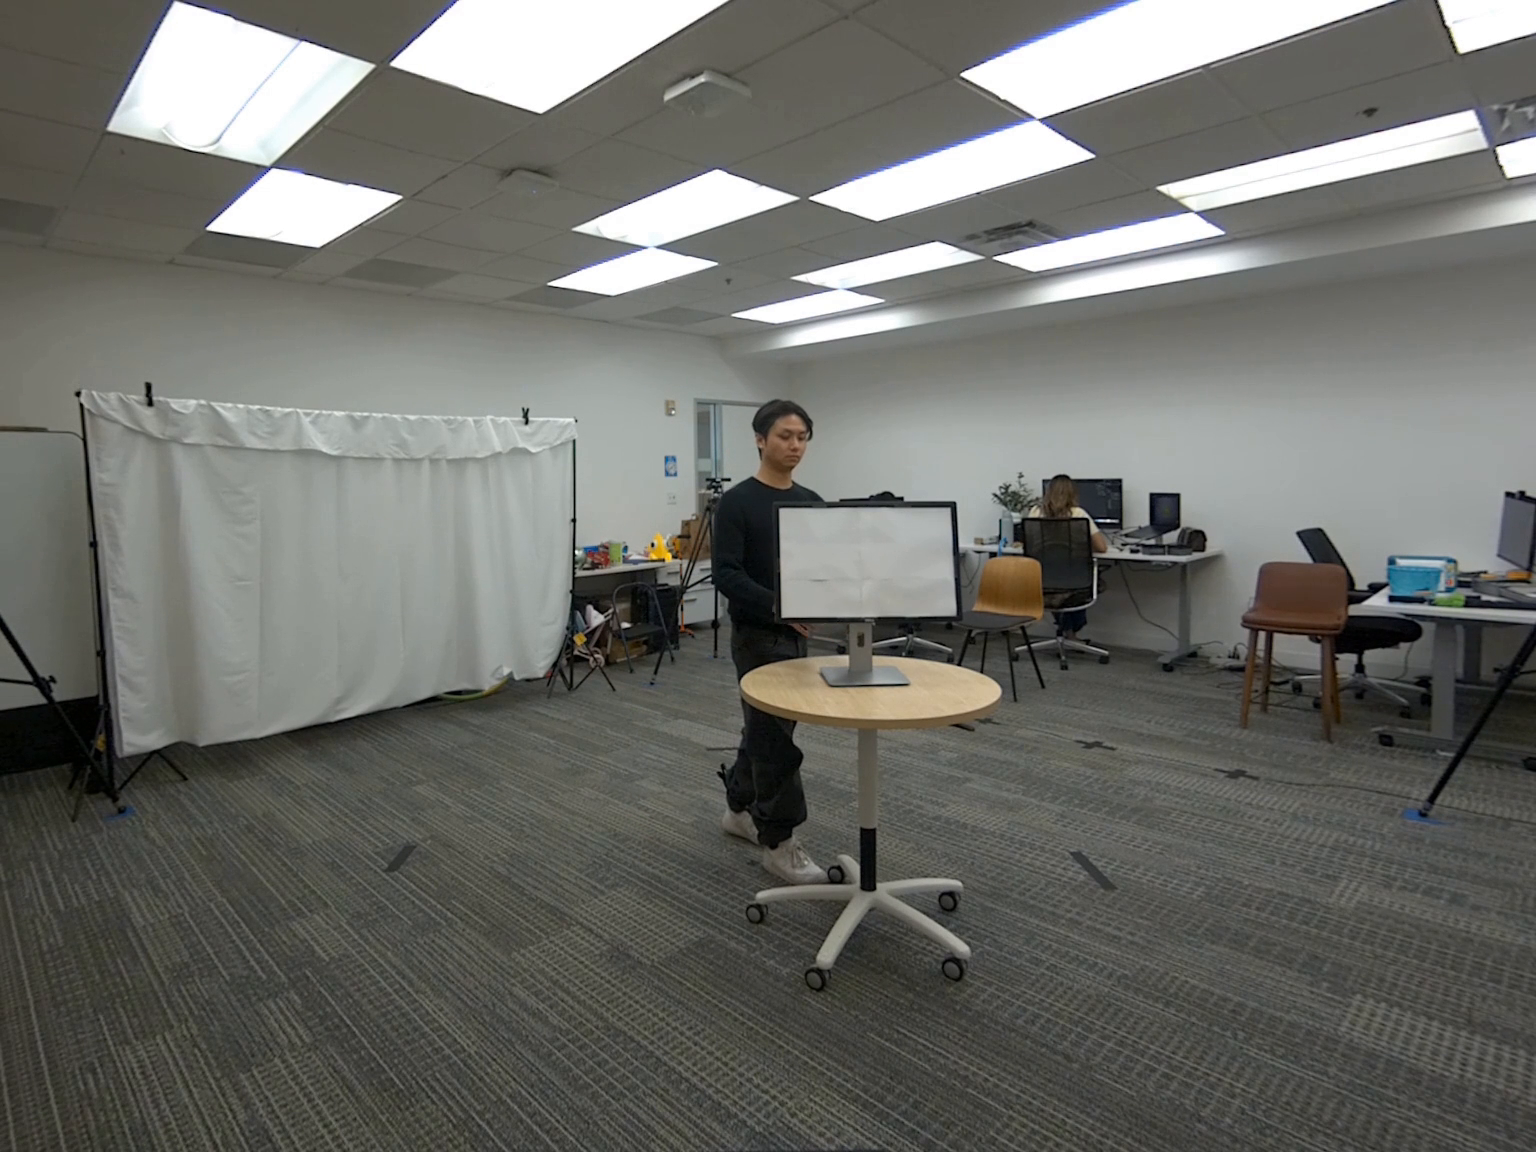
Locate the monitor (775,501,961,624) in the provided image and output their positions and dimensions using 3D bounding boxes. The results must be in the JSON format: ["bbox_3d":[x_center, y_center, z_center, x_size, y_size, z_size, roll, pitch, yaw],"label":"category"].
[{"bbox_3d":[0.290,0.050,2.597,0.528,0.512,0.176,0,8,-4],"label":"monitor"}]
